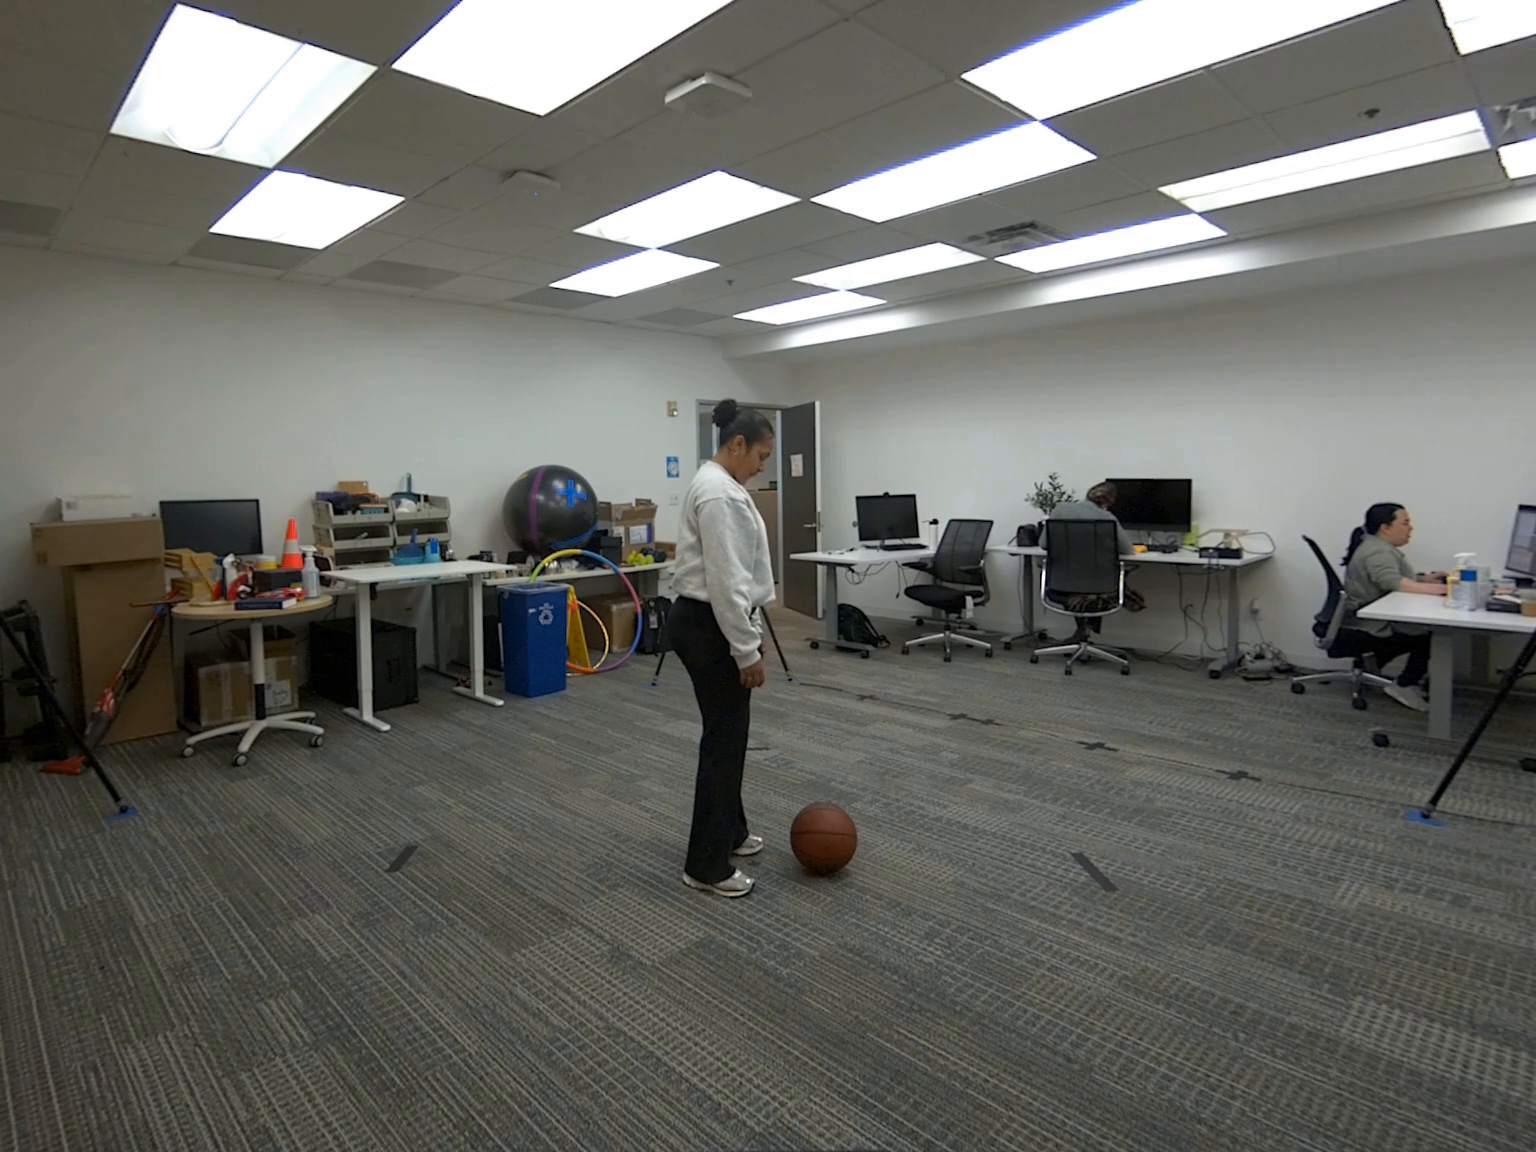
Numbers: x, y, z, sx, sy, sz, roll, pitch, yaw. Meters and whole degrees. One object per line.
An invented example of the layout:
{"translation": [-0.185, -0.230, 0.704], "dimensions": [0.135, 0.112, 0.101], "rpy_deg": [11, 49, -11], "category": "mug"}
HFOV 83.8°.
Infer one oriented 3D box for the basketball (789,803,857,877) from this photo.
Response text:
{"translation": [0.199, 0.927, 3.034], "dimensions": [0.236, 0.235, 0.237], "rpy_deg": [-1, 5, -2], "category": "basketball"}
